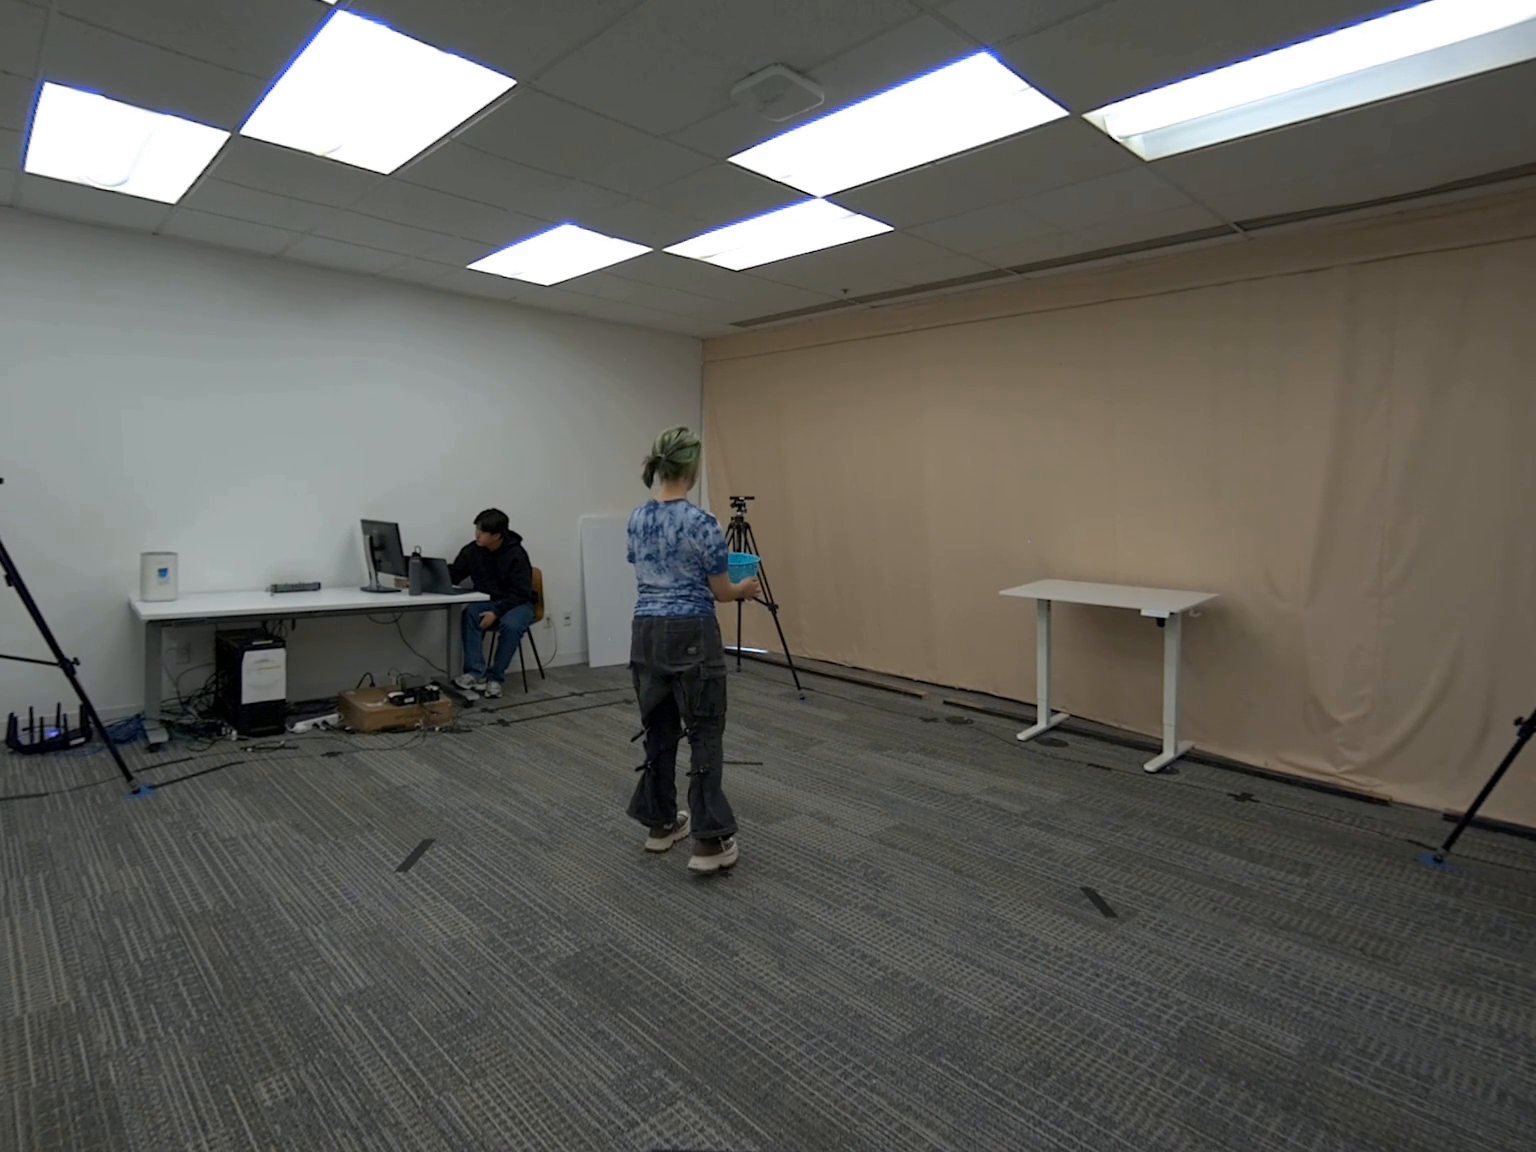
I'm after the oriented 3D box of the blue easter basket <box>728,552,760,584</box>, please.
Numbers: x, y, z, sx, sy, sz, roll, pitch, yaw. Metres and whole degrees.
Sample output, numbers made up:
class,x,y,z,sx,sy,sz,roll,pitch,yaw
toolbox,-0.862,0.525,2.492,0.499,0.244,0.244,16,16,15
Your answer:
class,x,y,z,sx,sy,sz,roll,pitch,yaw
blue easter basket,-0.146,-0.001,3.595,0.243,0.155,0.245,1,11,-1
